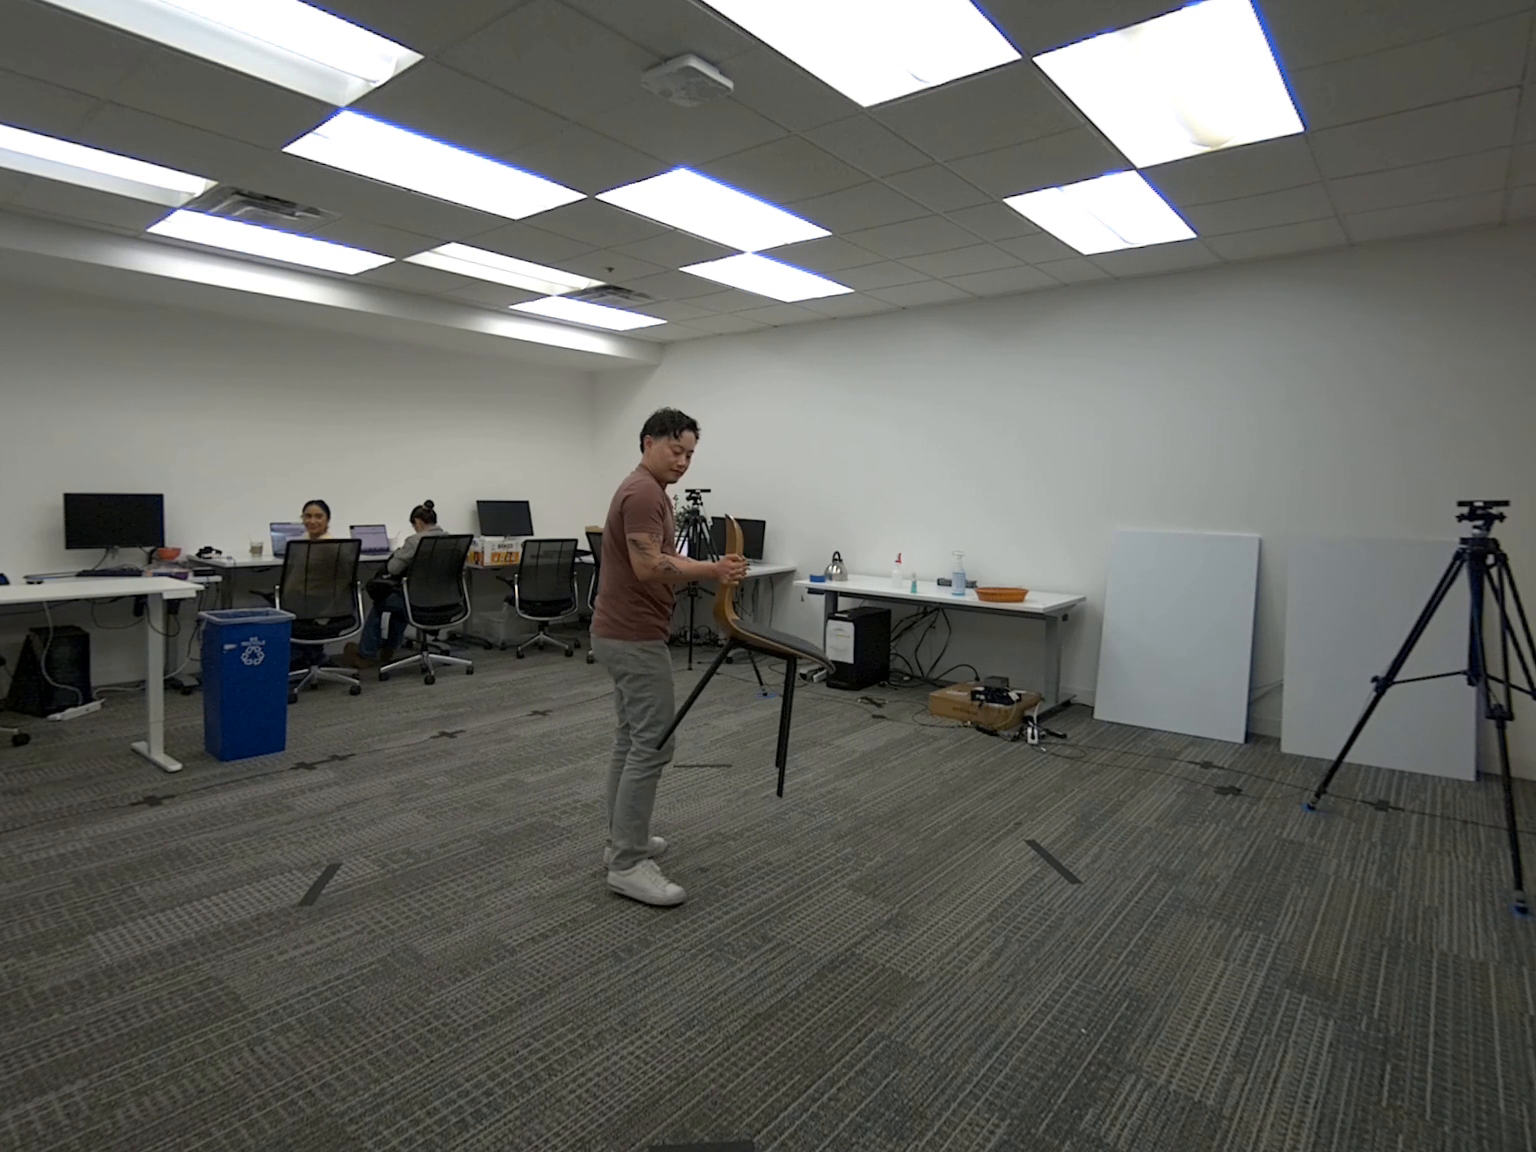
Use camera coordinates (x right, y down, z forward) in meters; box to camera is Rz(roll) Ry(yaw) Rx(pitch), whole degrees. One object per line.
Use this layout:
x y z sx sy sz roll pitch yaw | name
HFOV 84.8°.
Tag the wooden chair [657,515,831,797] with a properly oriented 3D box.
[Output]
-0.025 0.266 3.073 0.524 0.879 0.476 15 -2 1 | wooden chair
